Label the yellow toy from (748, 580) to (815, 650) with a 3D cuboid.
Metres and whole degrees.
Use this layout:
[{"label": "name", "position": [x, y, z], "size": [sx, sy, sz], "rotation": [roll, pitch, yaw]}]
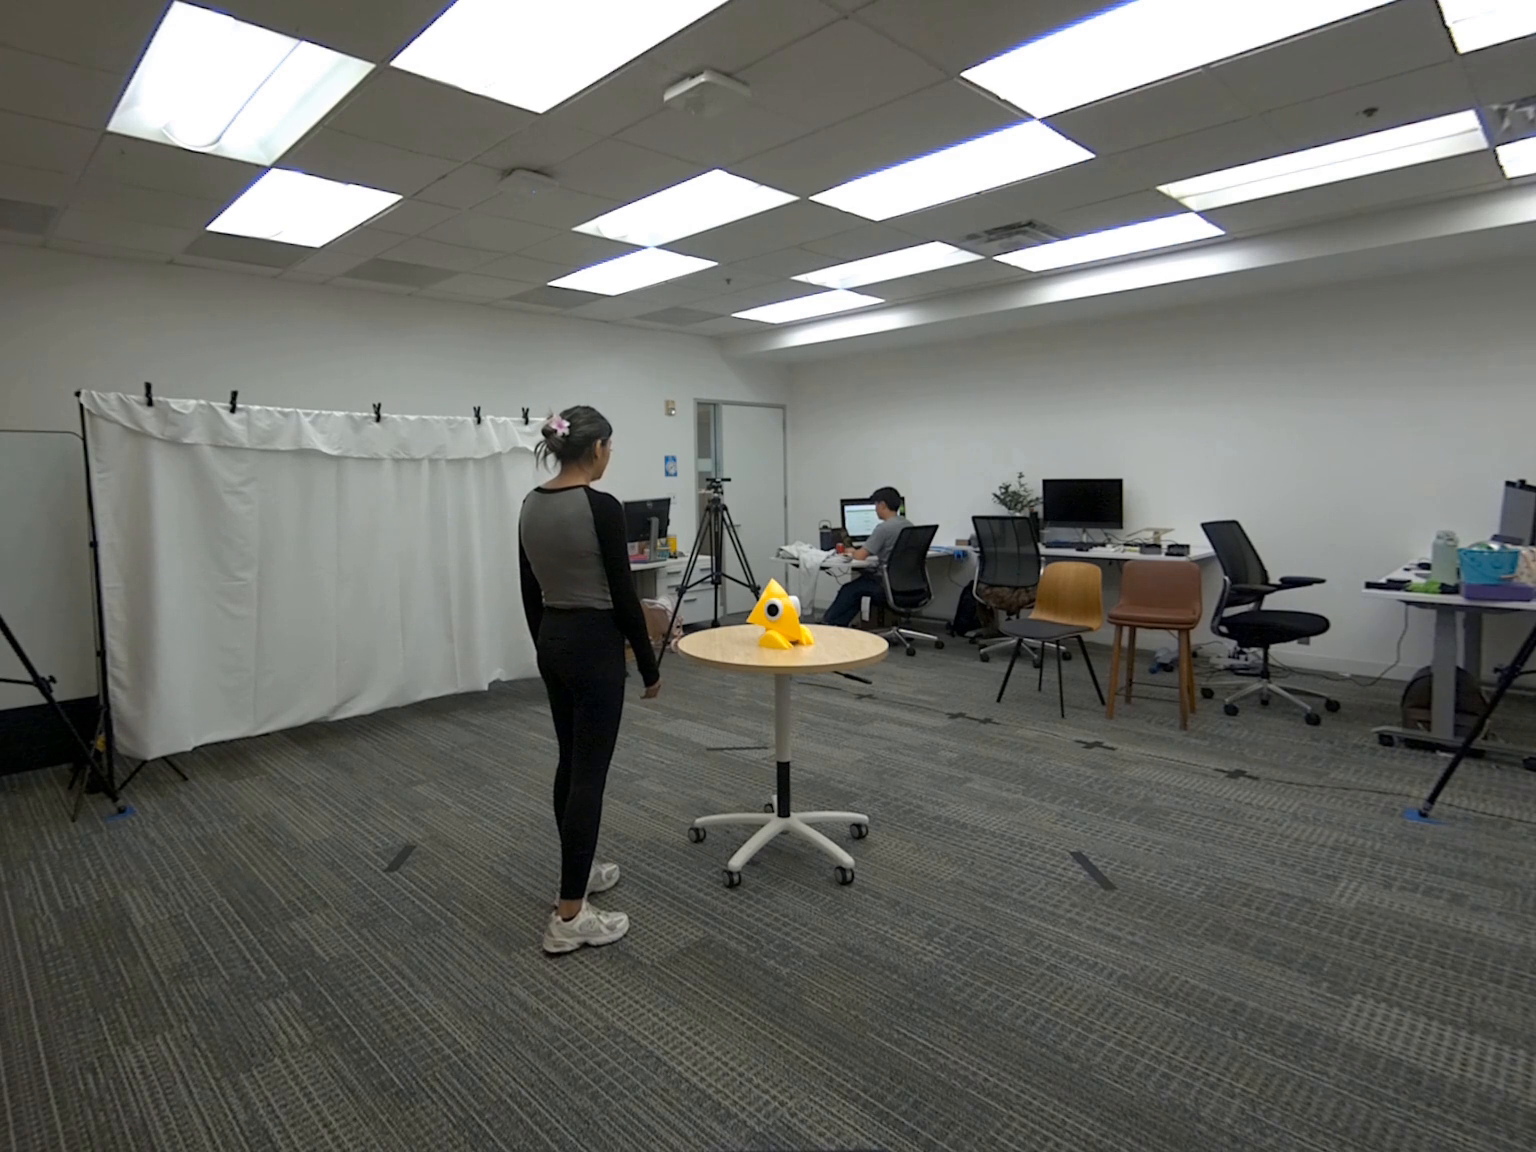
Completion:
[{"label": "yellow toy", "position": [0.062, 0.131, 3.117], "size": [0.199, 0.230, 0.199], "rotation": [-5, 7, -40]}]
